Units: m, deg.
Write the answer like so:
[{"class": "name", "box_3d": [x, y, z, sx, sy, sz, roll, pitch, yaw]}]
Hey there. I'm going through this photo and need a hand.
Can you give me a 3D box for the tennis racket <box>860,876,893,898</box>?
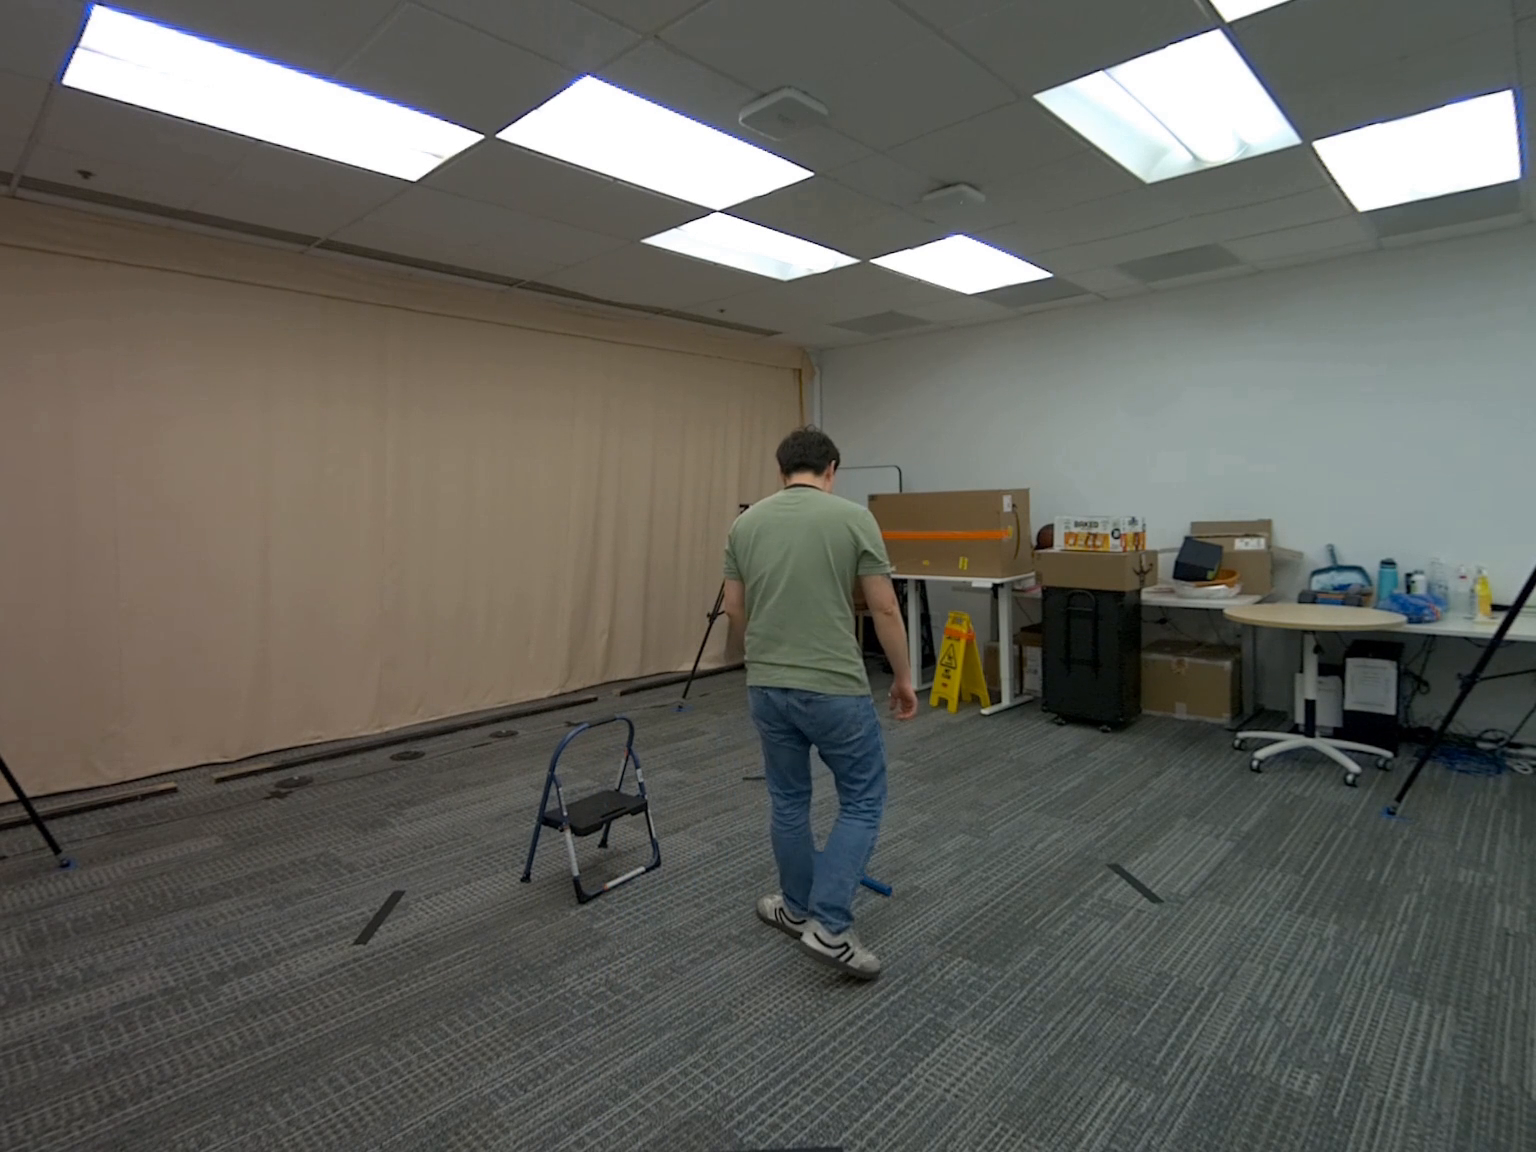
[{"class": "tennis racket", "box_3d": [0.299, 1.109, 3.153, 0.207, 0.032, 0.447, -4, 5, -38]}]
